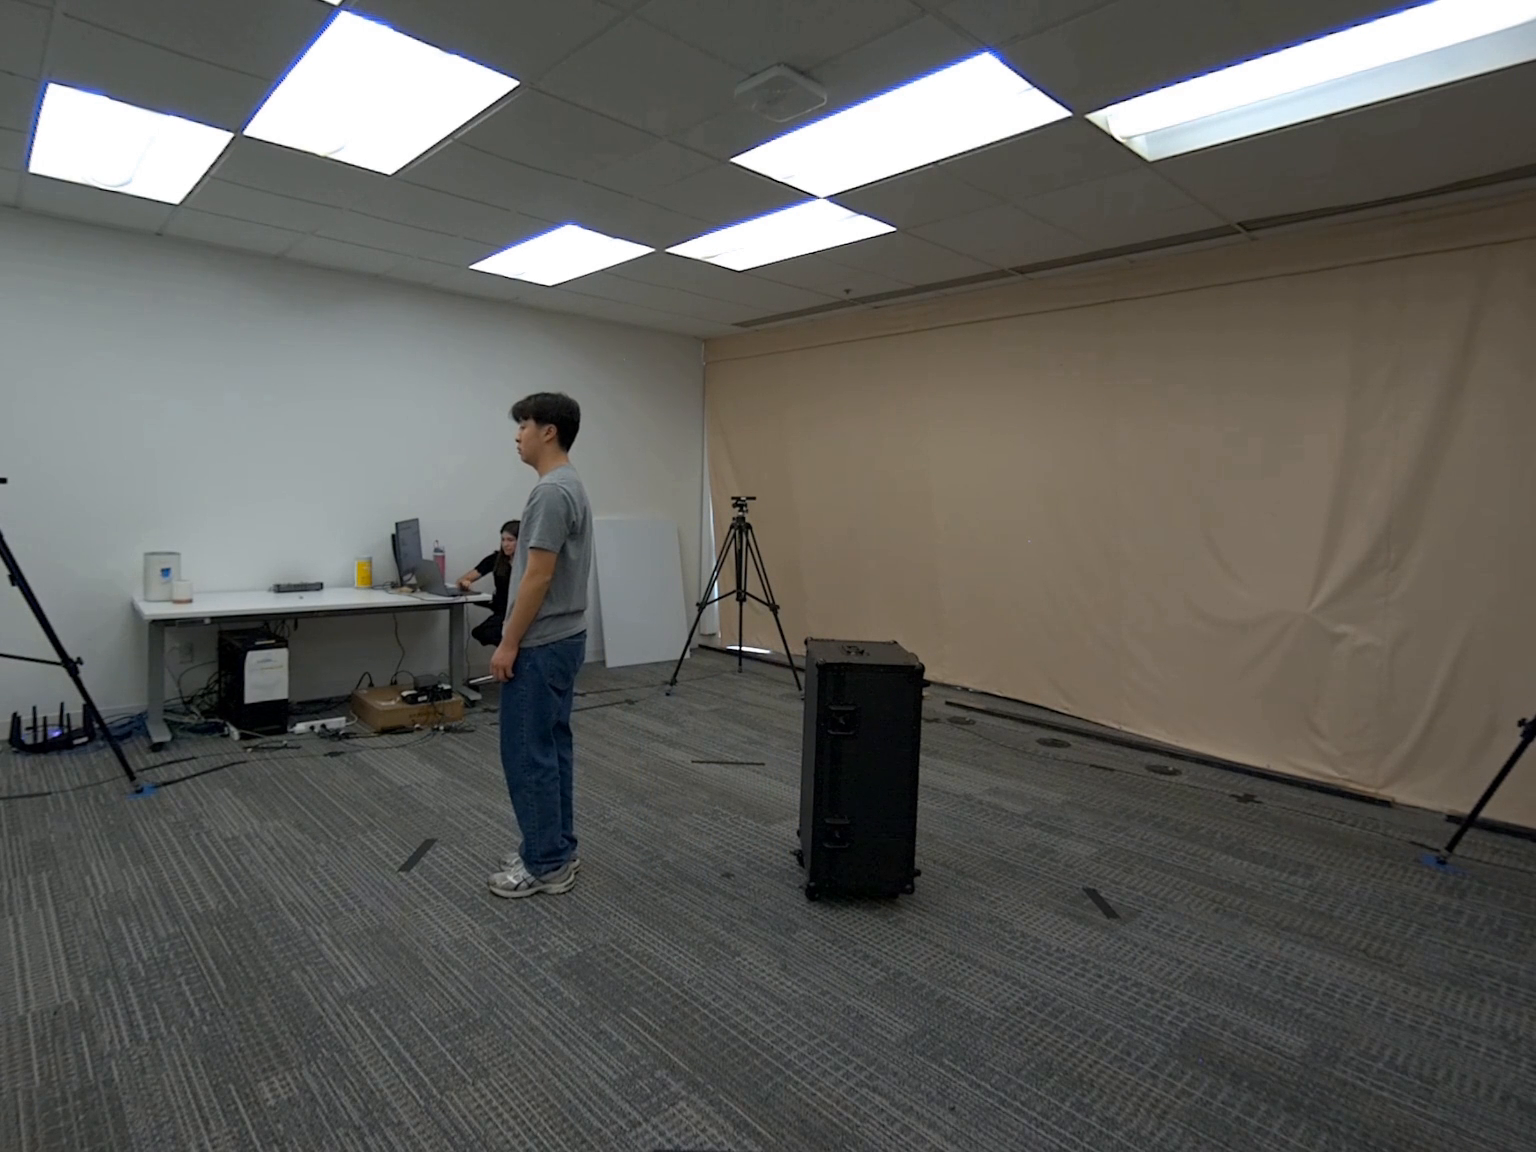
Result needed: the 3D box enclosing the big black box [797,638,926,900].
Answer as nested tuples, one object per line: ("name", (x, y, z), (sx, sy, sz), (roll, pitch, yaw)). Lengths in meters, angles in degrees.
("big black box", (0.330, 0.646, 3.050), (0.396, 0.859, 0.523), (2, 4, -2))
